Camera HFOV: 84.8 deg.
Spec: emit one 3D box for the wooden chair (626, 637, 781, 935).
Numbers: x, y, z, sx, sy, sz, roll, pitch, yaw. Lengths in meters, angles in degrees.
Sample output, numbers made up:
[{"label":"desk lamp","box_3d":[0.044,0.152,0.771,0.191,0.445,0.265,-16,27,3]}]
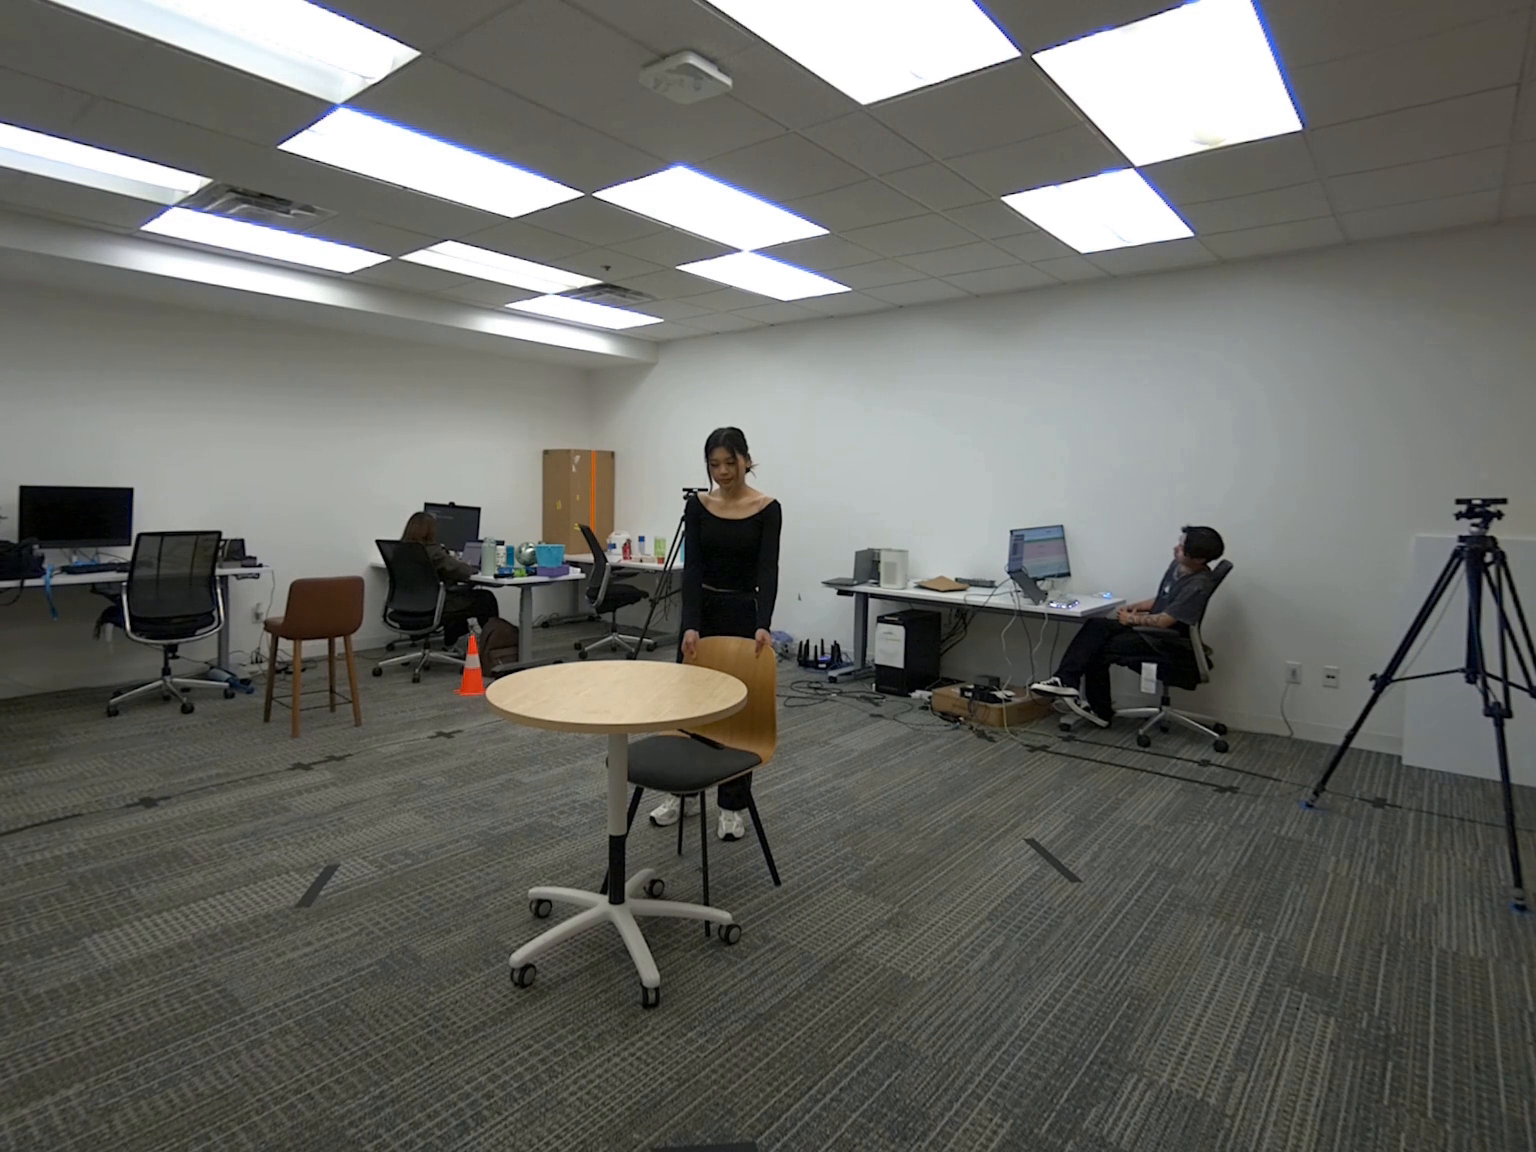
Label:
[{"label":"wooden chair","box_3d":[-0.264,0.656,2.911,0.493,0.878,0.507,4,-1,33]}]
